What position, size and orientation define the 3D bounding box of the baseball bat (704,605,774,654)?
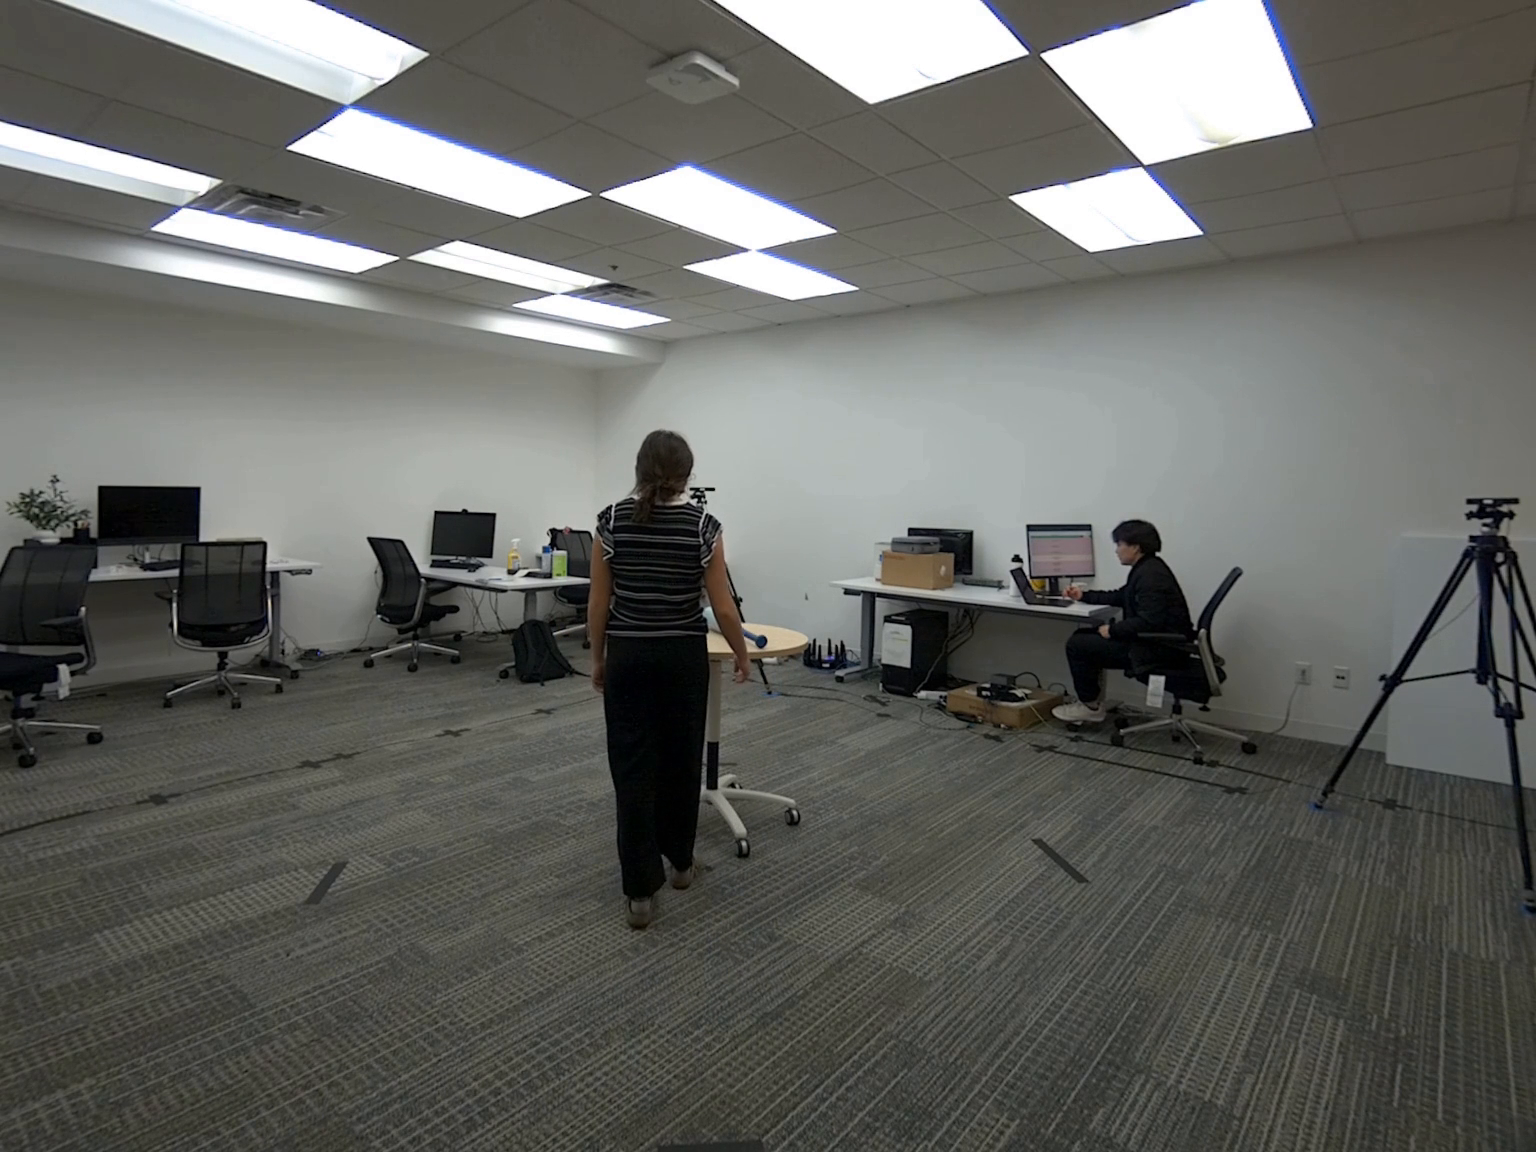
[{"bbox_3d":[-0.146,0.212,3.486,0.087,0.088,0.560,-1,9,-27],"label":"baseball bat"}]
